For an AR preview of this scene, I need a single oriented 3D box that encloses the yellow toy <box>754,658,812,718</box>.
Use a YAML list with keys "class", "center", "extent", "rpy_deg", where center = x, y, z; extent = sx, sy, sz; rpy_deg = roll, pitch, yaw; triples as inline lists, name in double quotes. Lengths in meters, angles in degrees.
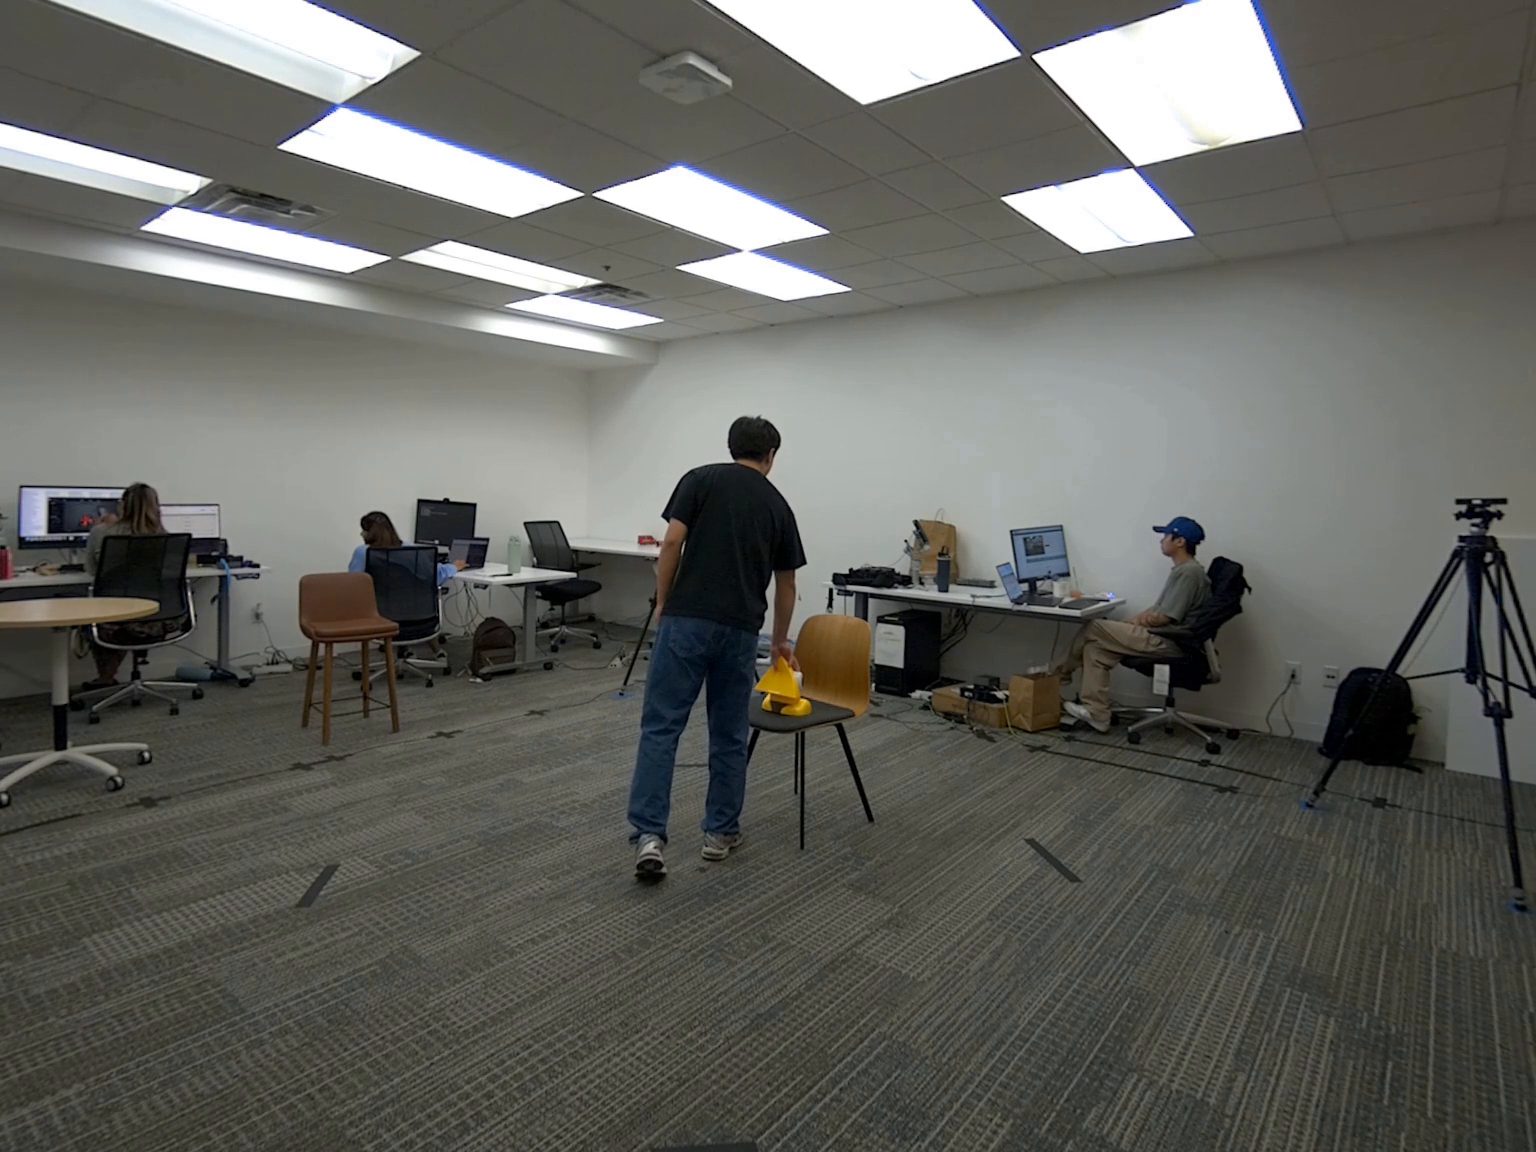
- class: "yellow toy"
  center: [0.074, 0.441, 3.530]
  extent: [0.212, 0.230, 0.187]
  rpy_deg: [6, 4, 37]
